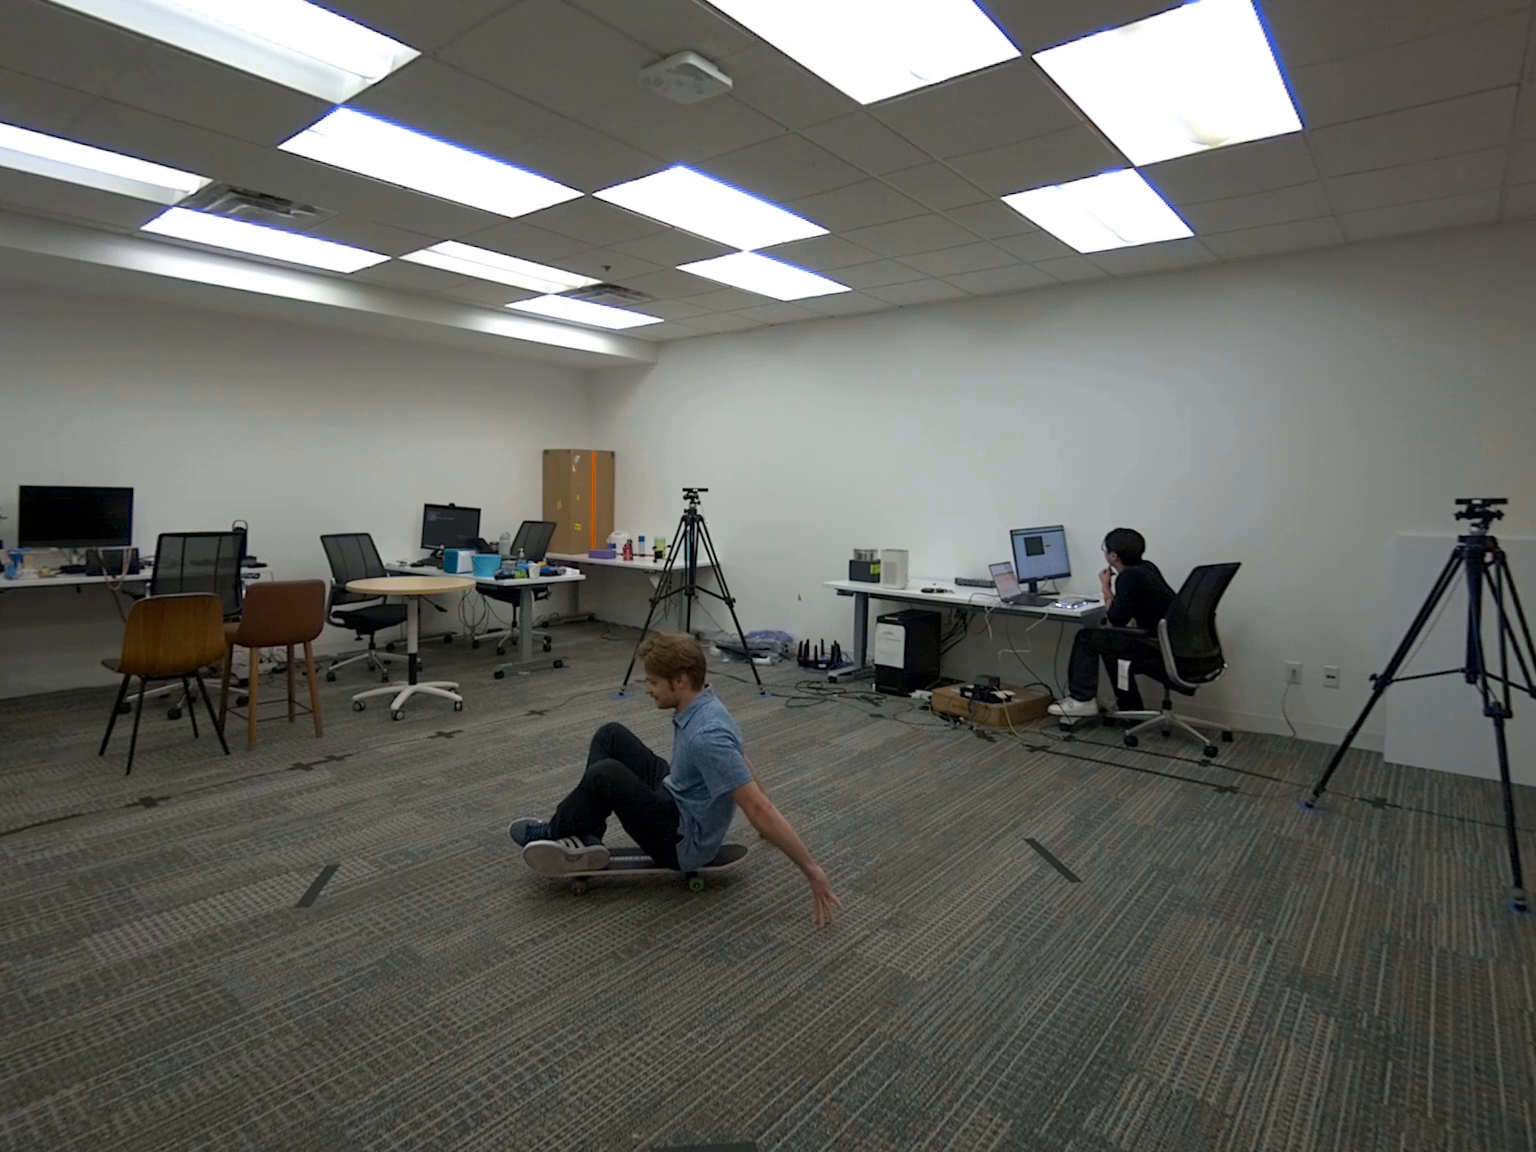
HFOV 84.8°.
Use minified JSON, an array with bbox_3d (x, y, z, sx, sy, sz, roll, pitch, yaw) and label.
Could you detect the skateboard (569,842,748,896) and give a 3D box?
[{"bbox_3d":[-0.477,1.030,2.989,0.779,0.110,0.195,1,5,-7],"label":"skateboard"}]
